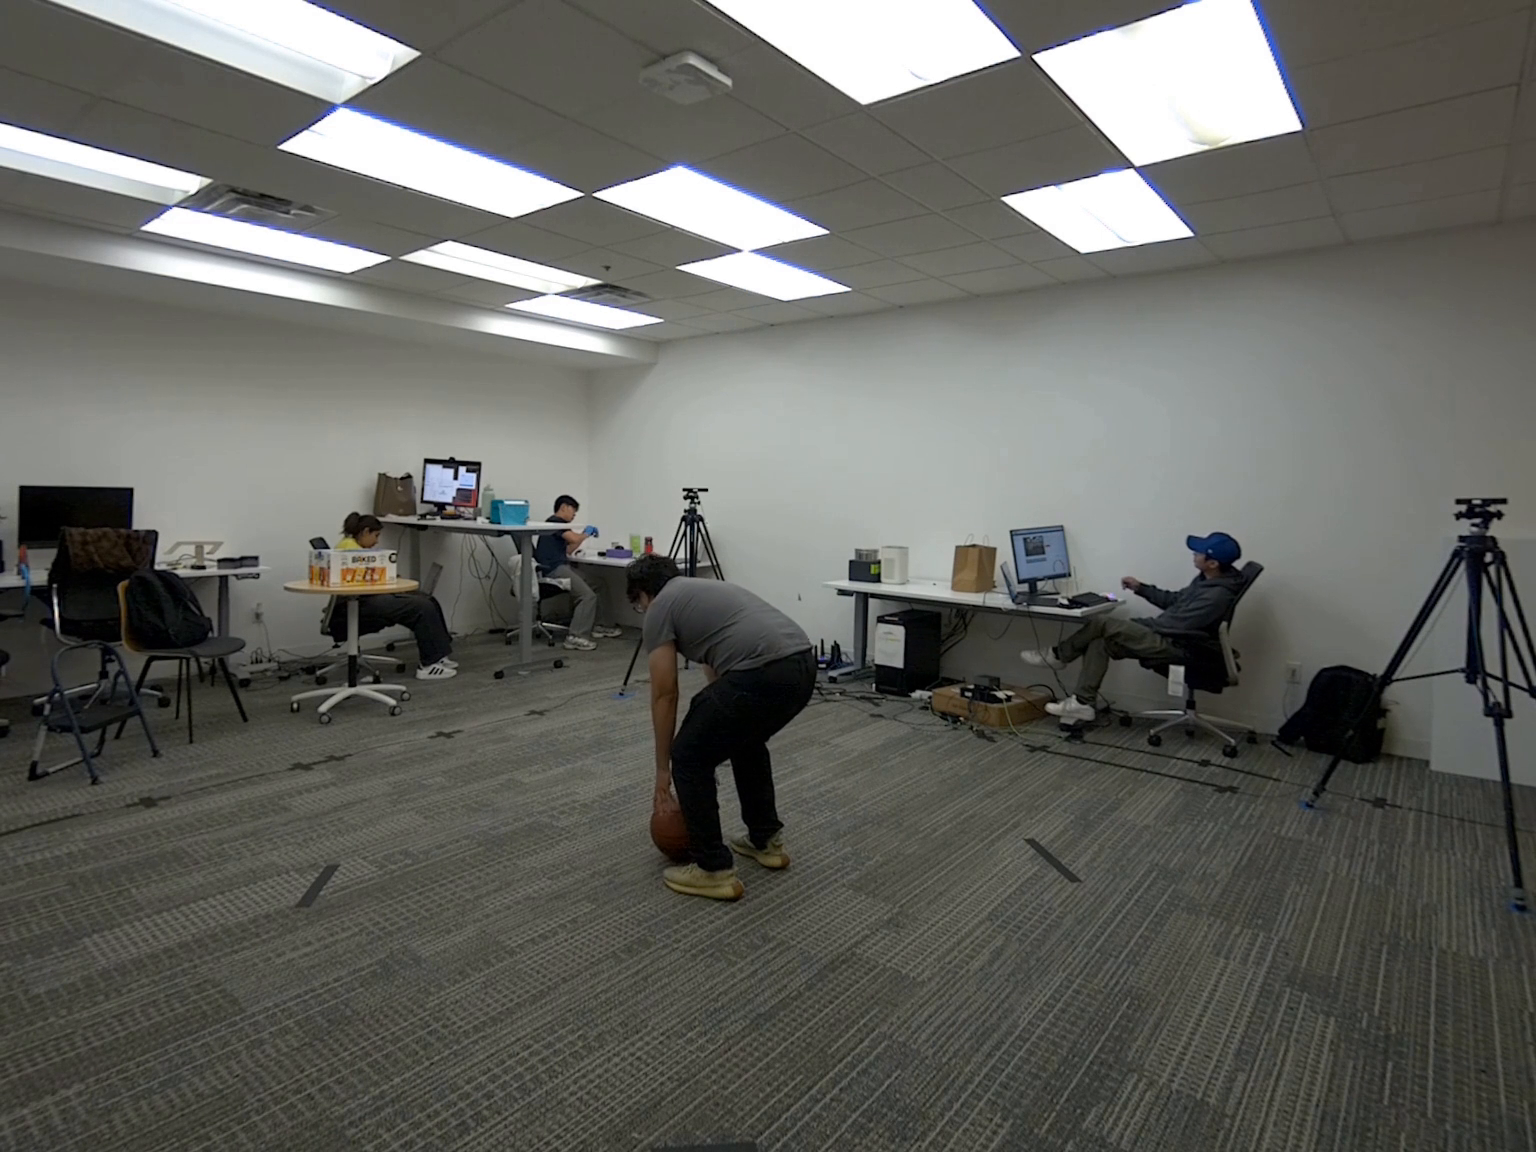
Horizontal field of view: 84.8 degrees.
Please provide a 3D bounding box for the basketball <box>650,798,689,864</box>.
[{"bbox_3d":[-0.337,0.931,3.206,0.235,0.235,0.237,1,4,-2],"label":"basketball"}]
